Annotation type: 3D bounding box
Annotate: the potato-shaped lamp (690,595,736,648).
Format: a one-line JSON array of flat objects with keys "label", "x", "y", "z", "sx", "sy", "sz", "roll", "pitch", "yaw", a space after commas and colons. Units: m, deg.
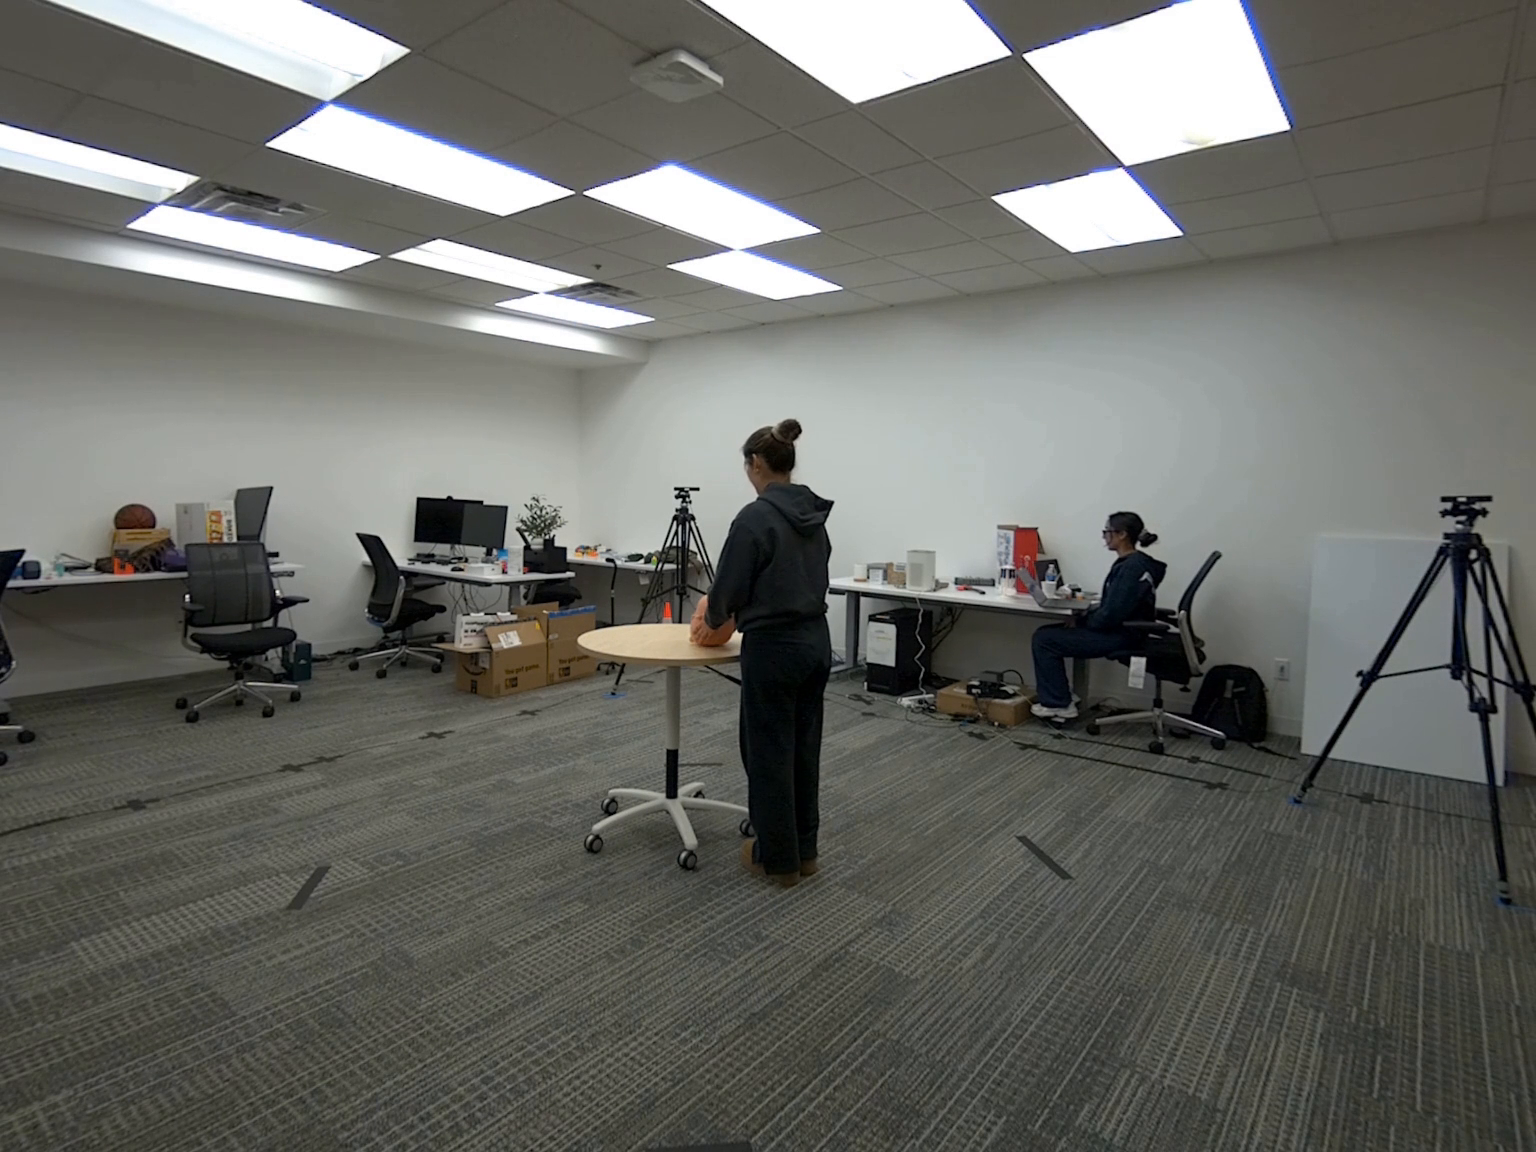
[{"label": "potato-shaped lamp", "x": -0.217, "y": 0.160, "z": 3.315, "sx": 0.177, "sy": 0.197, "sz": 0.160, "roll": 8, "pitch": 10, "yaw": 37}]
